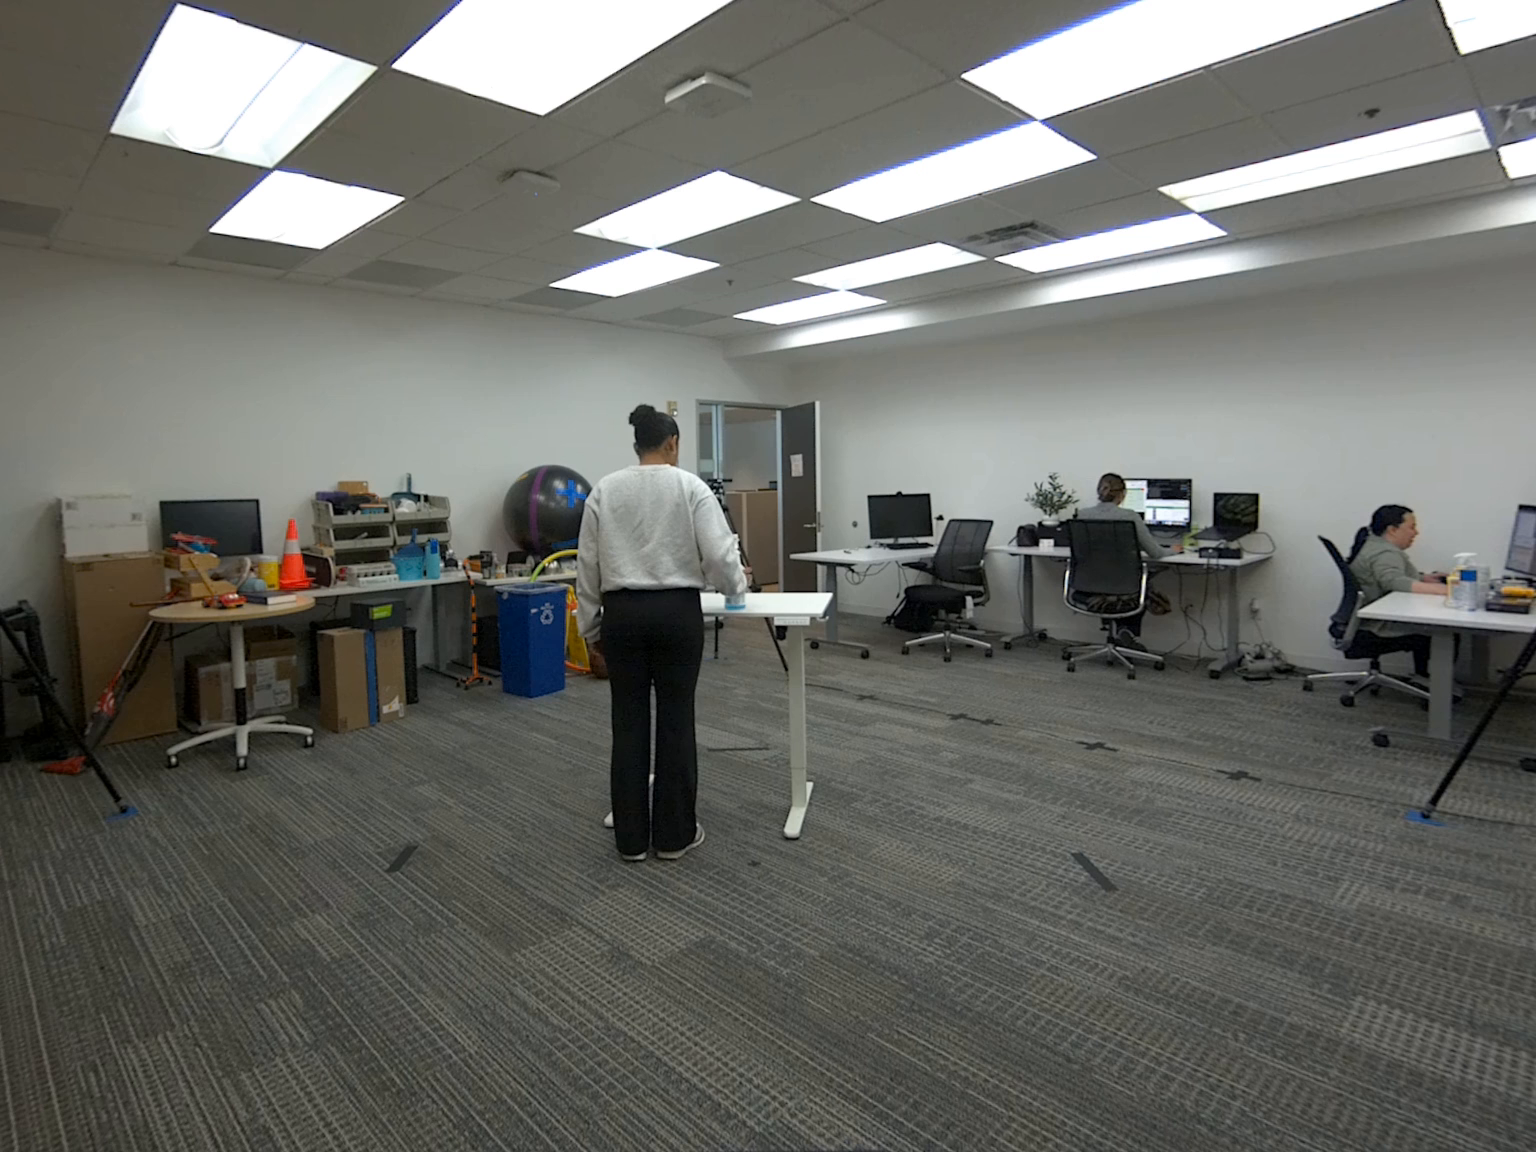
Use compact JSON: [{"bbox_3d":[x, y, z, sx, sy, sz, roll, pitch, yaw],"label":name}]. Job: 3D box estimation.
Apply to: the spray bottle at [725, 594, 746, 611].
[{"bbox_3d":[-0.138,-0.019,3.407,0.088,0.296,0.089,1,5,16],"label":"spray bottle"}]
